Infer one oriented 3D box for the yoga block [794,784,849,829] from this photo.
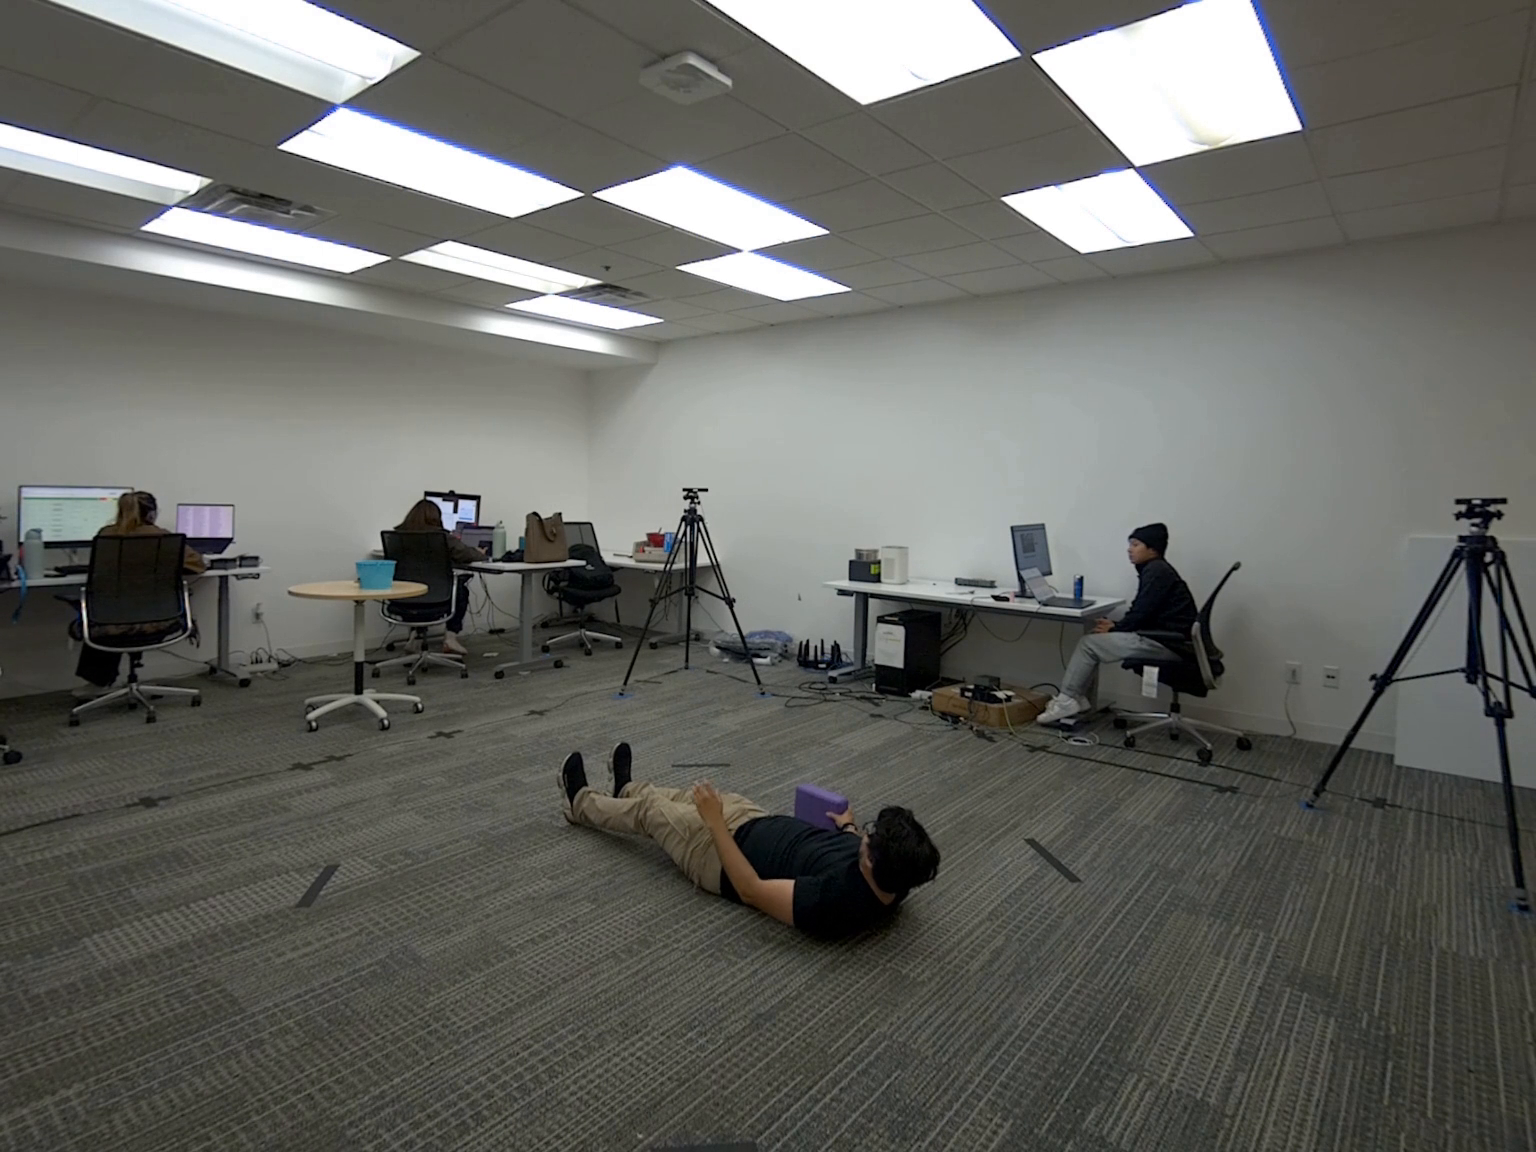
[{"bbox_3d":[0.207,0.952,3.515,0.237,0.148,0.074,8,8,42],"label":"yoga block"}]
